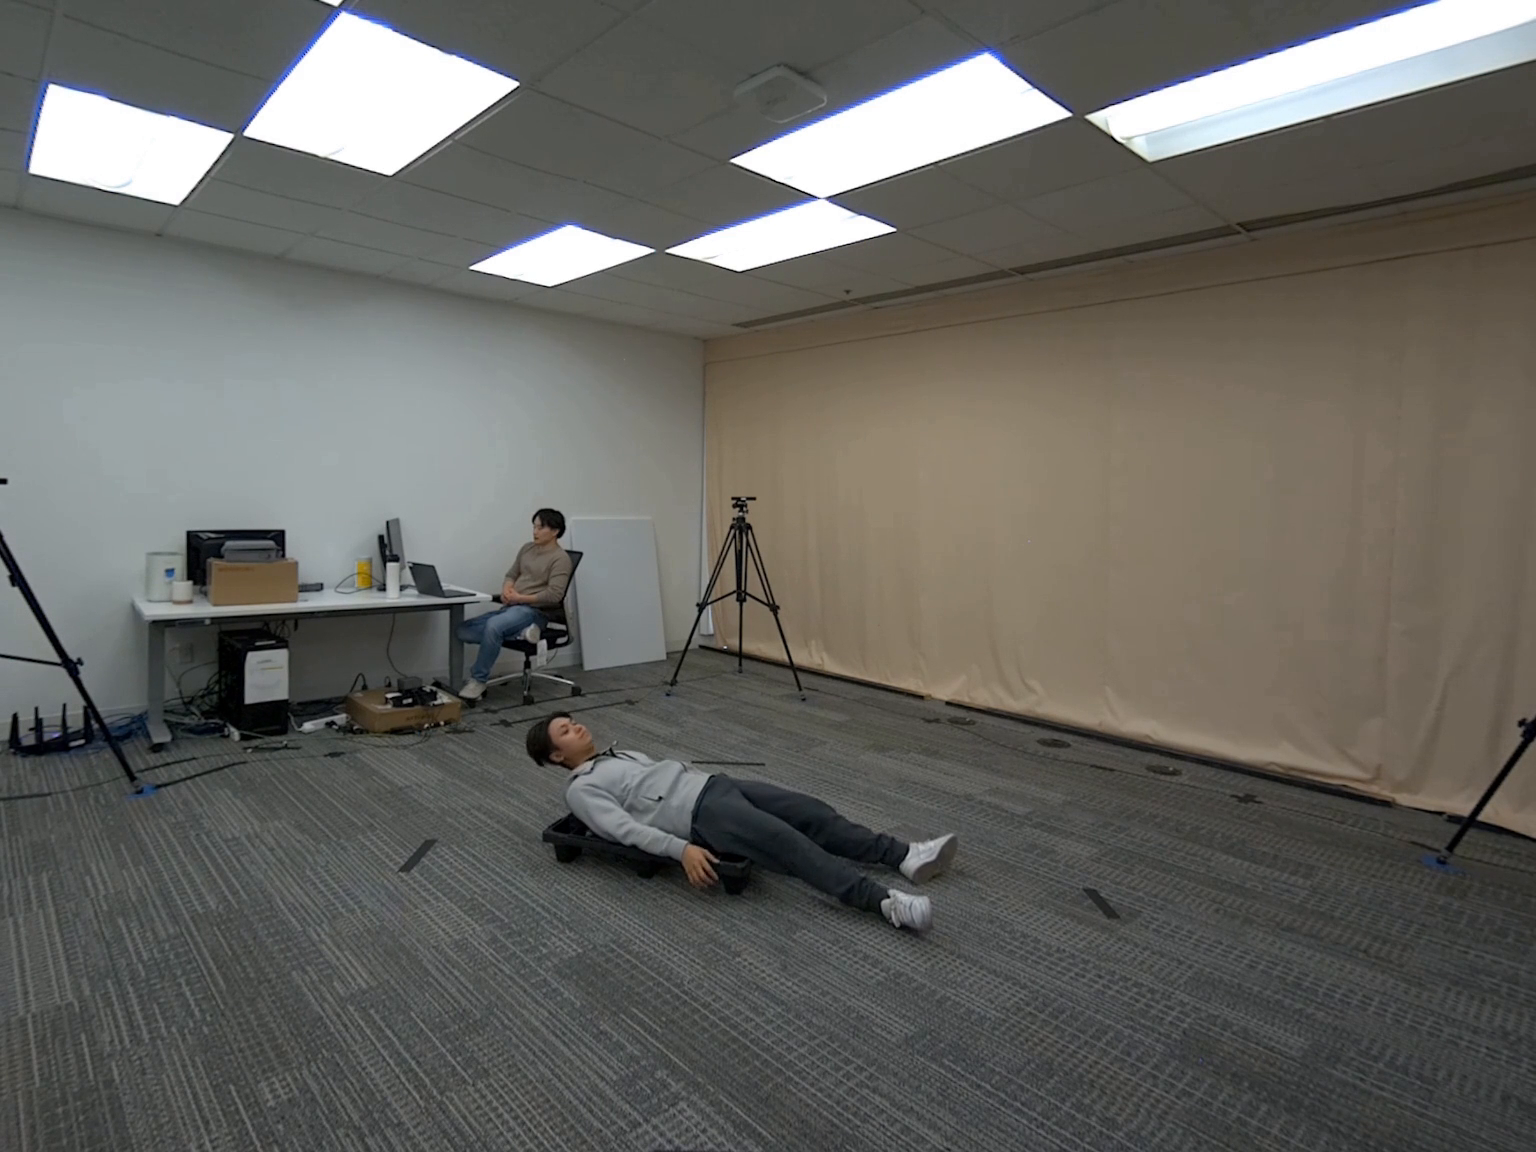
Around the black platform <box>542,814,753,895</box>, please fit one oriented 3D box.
[{"bbox_3d":[-0.389,1.002,3.289,0.818,0.142,0.599,3,8,18],"label":"black platform"}]
